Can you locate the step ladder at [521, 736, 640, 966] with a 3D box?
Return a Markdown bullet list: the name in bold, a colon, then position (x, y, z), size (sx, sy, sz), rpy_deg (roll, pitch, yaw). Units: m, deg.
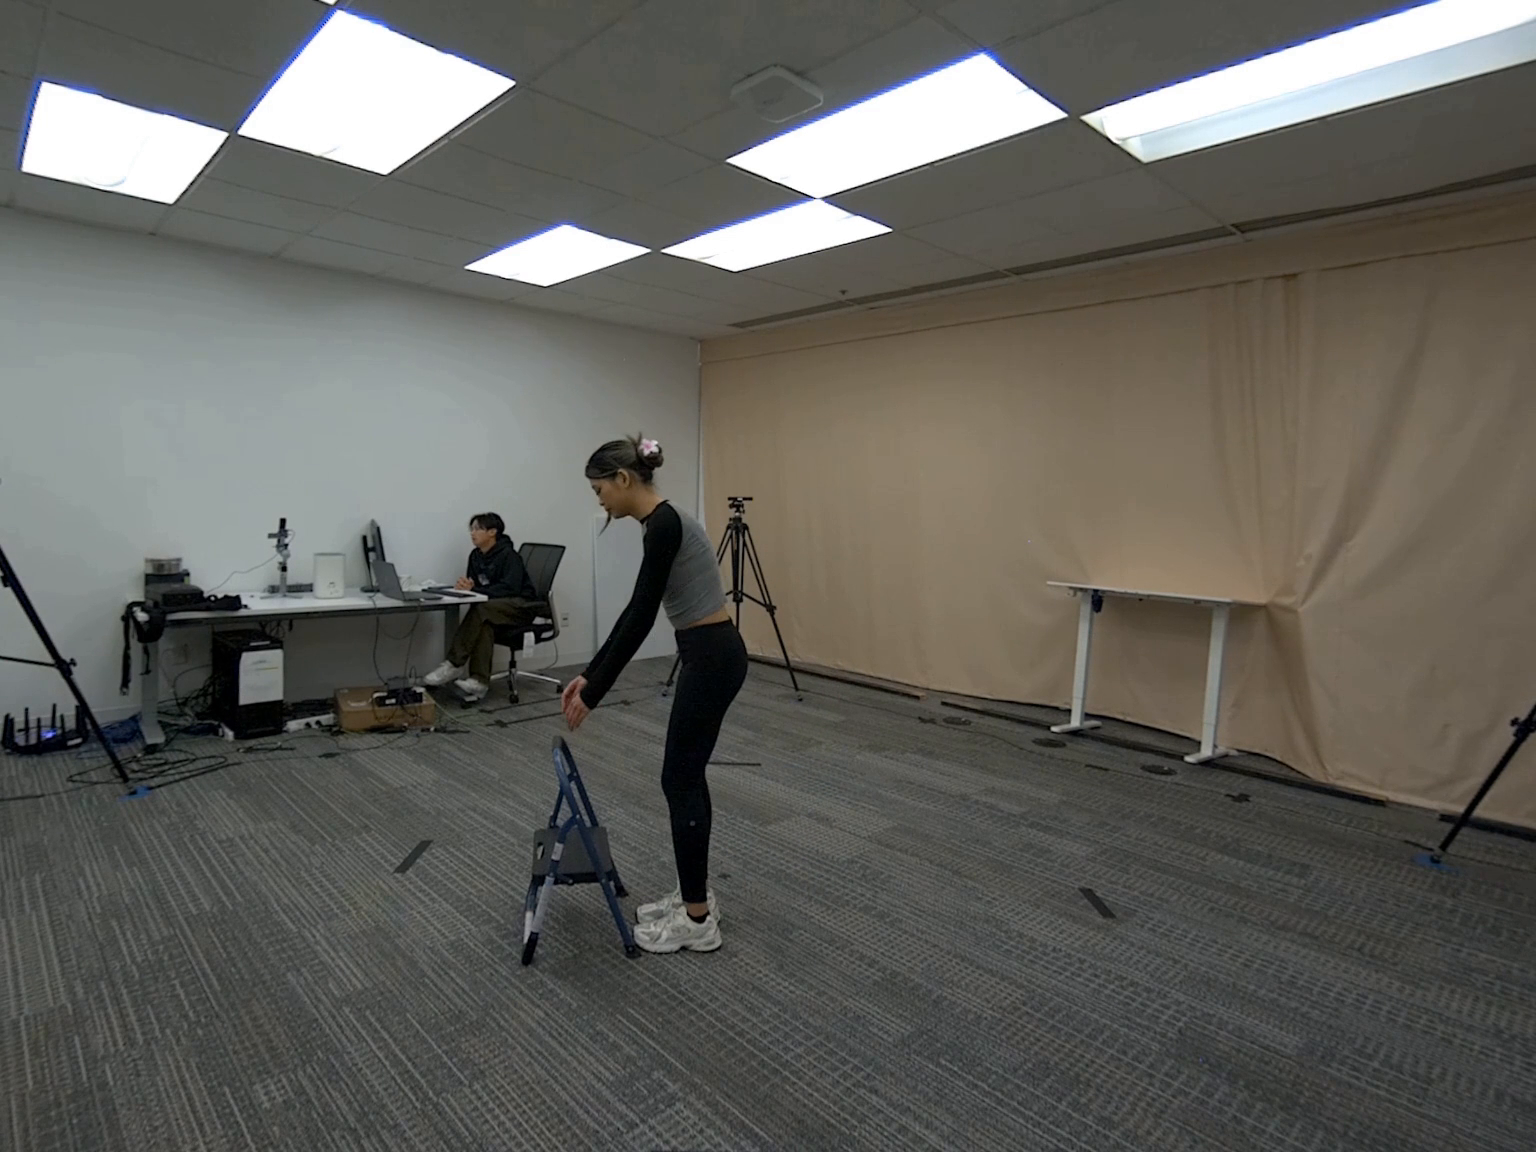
- **step ladder**: position (-0.607, 0.832, 2.696), size (0.345, 0.604, 0.436), rpy_deg (0, 4, -14)
